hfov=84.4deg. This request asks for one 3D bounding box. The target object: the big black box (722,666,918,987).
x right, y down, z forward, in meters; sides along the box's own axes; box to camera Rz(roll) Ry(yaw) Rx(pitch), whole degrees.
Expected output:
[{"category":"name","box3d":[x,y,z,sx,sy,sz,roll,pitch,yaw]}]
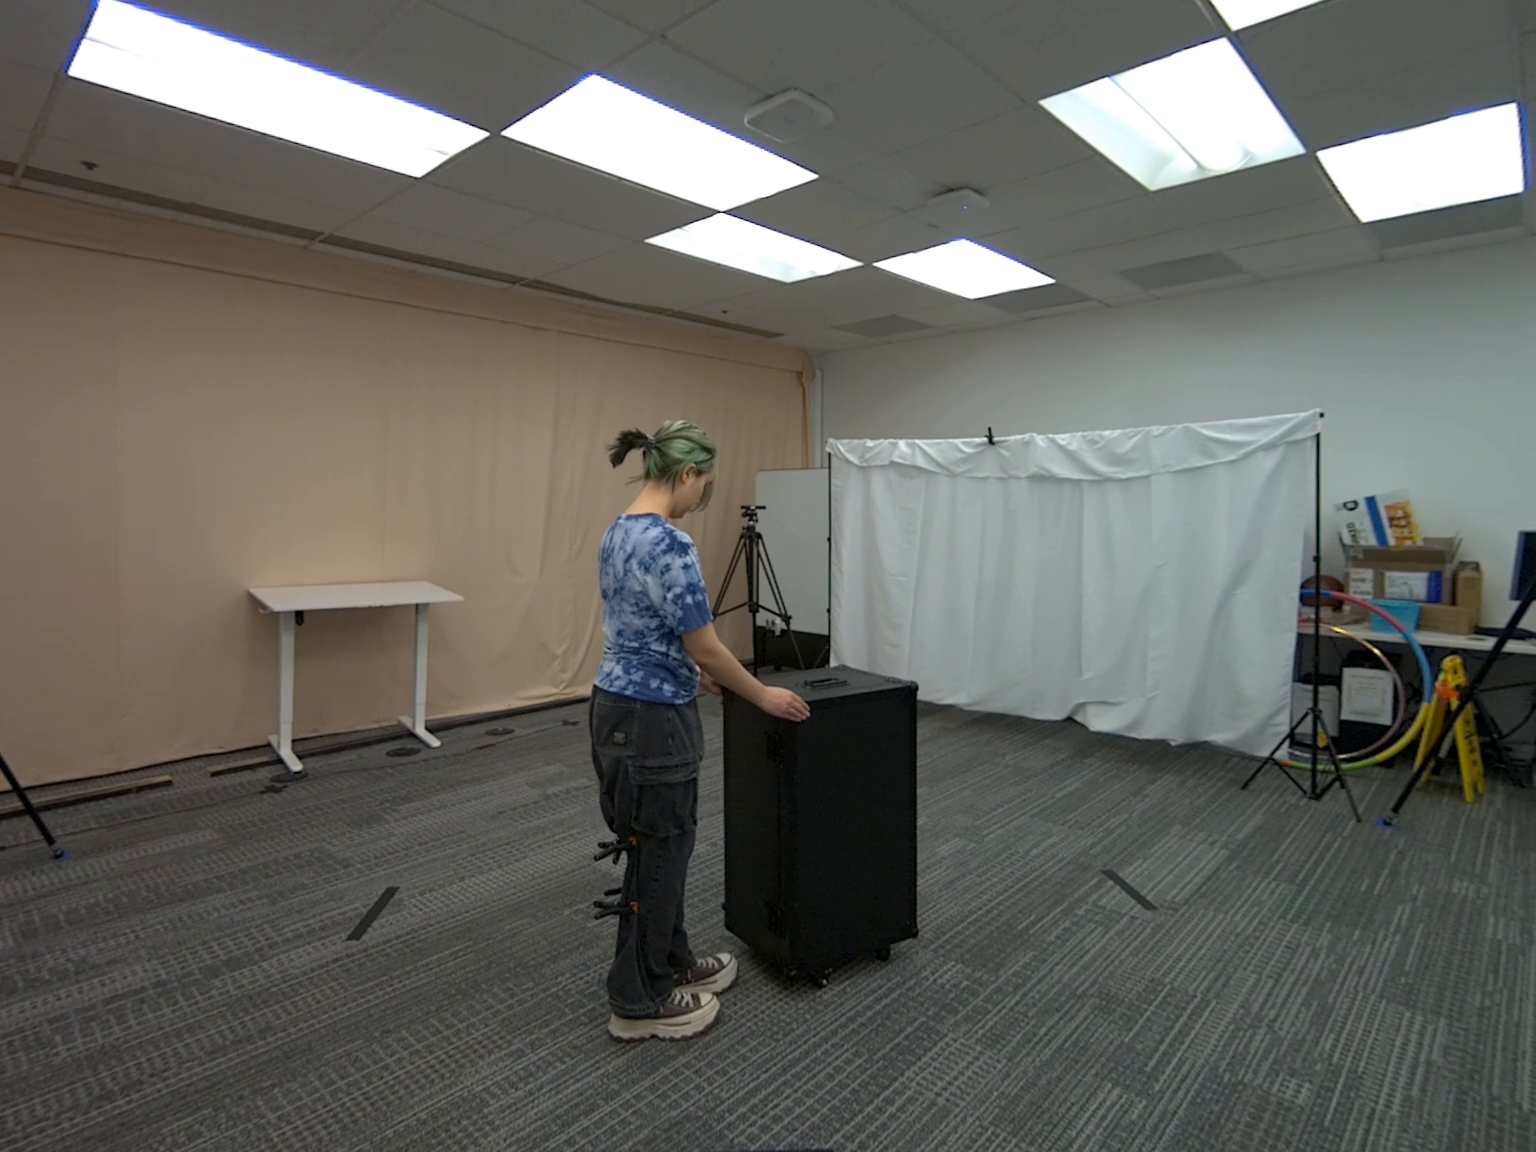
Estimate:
[{"category":"big black box","box3d":[0.155,0.753,2.599,0.507,0.860,0.408,-3,3,-32]}]
